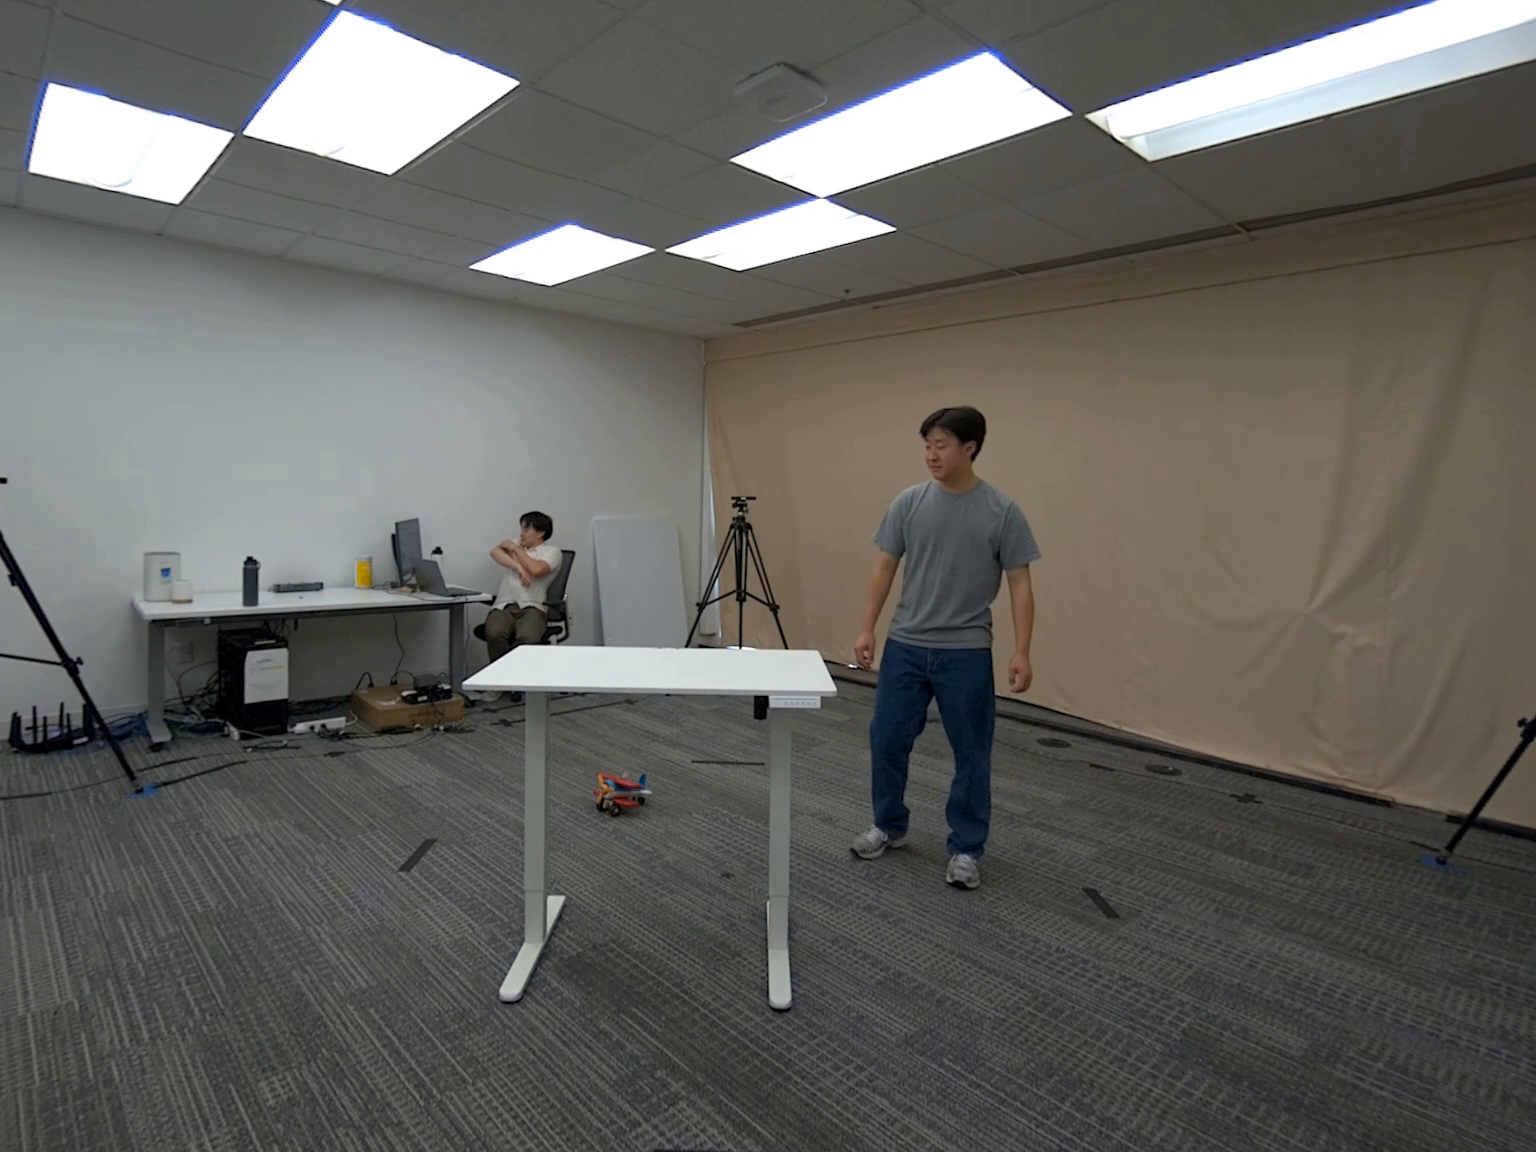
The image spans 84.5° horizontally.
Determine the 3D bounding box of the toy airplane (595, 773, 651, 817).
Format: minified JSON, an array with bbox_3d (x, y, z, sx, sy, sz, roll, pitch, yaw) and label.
[{"bbox_3d":[-0.670,0.959,3.760,0.254,0.156,0.258,2,6,11],"label":"toy airplane"}]
